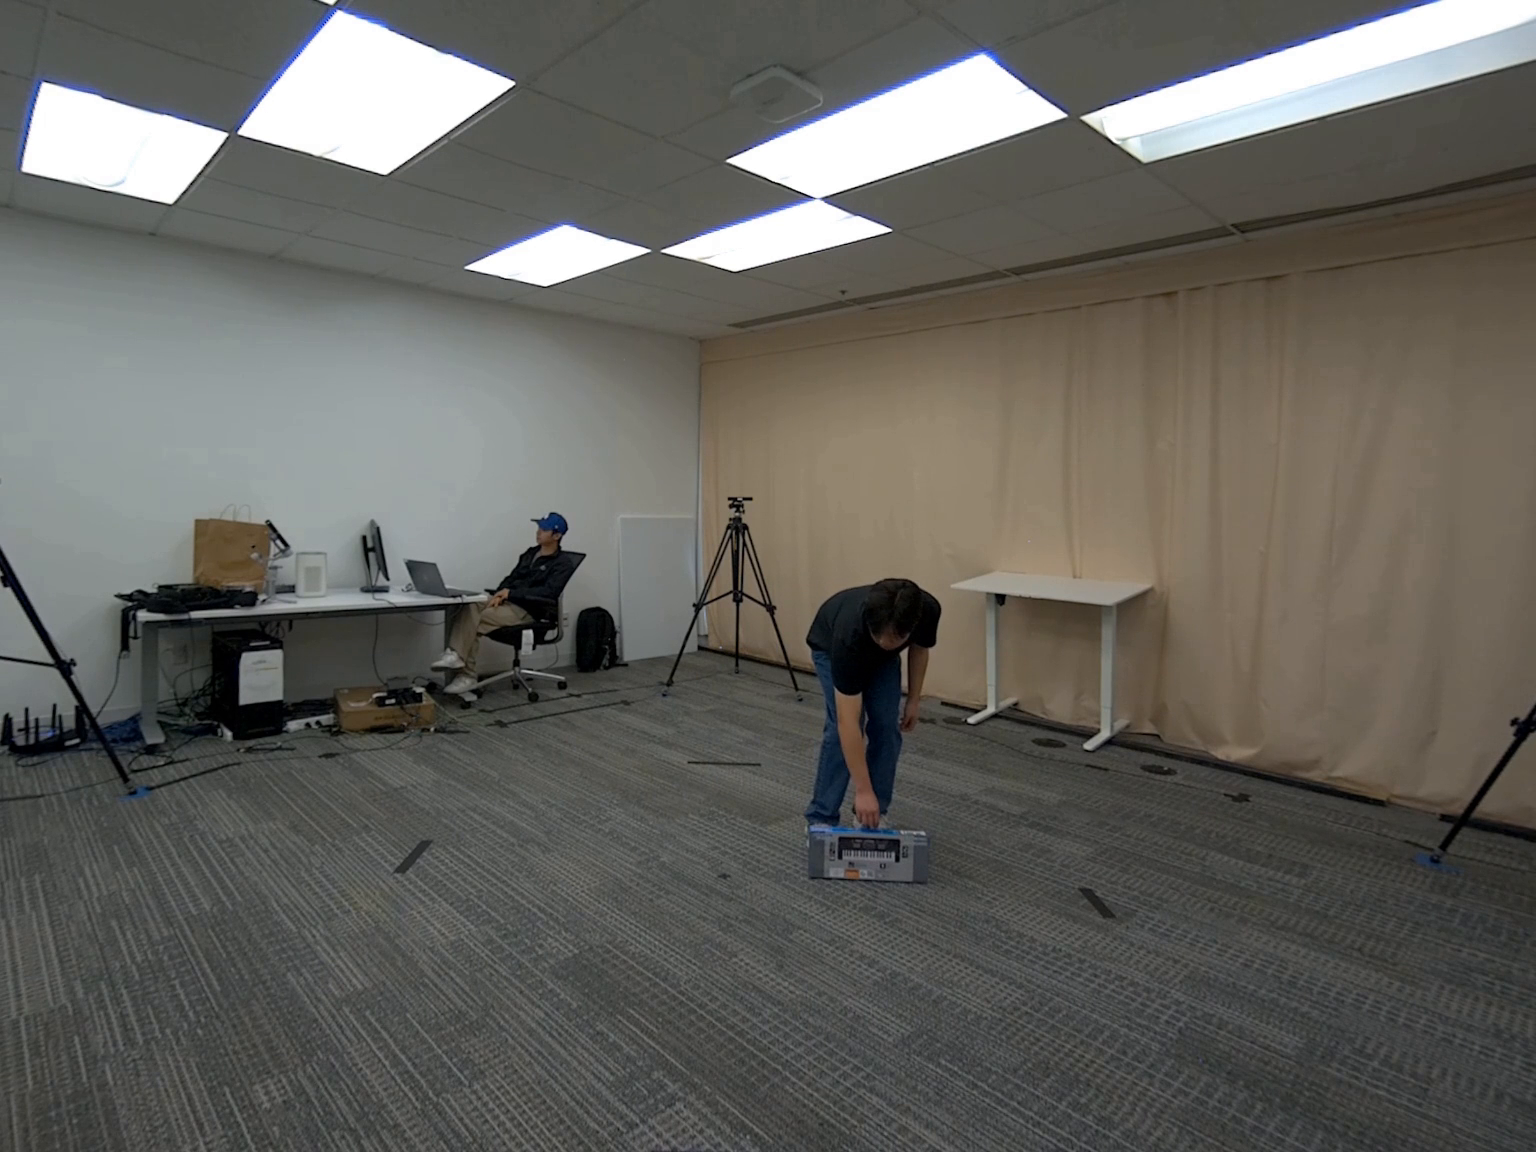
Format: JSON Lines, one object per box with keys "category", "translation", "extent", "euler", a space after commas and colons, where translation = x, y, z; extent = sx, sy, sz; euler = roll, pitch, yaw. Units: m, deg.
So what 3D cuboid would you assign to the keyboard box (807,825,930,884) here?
{"category": "keyboard box", "translation": [0.362, 1.024, 3.115], "extent": [0.438, 0.176, 0.059], "euler": [2, 0, 3]}
